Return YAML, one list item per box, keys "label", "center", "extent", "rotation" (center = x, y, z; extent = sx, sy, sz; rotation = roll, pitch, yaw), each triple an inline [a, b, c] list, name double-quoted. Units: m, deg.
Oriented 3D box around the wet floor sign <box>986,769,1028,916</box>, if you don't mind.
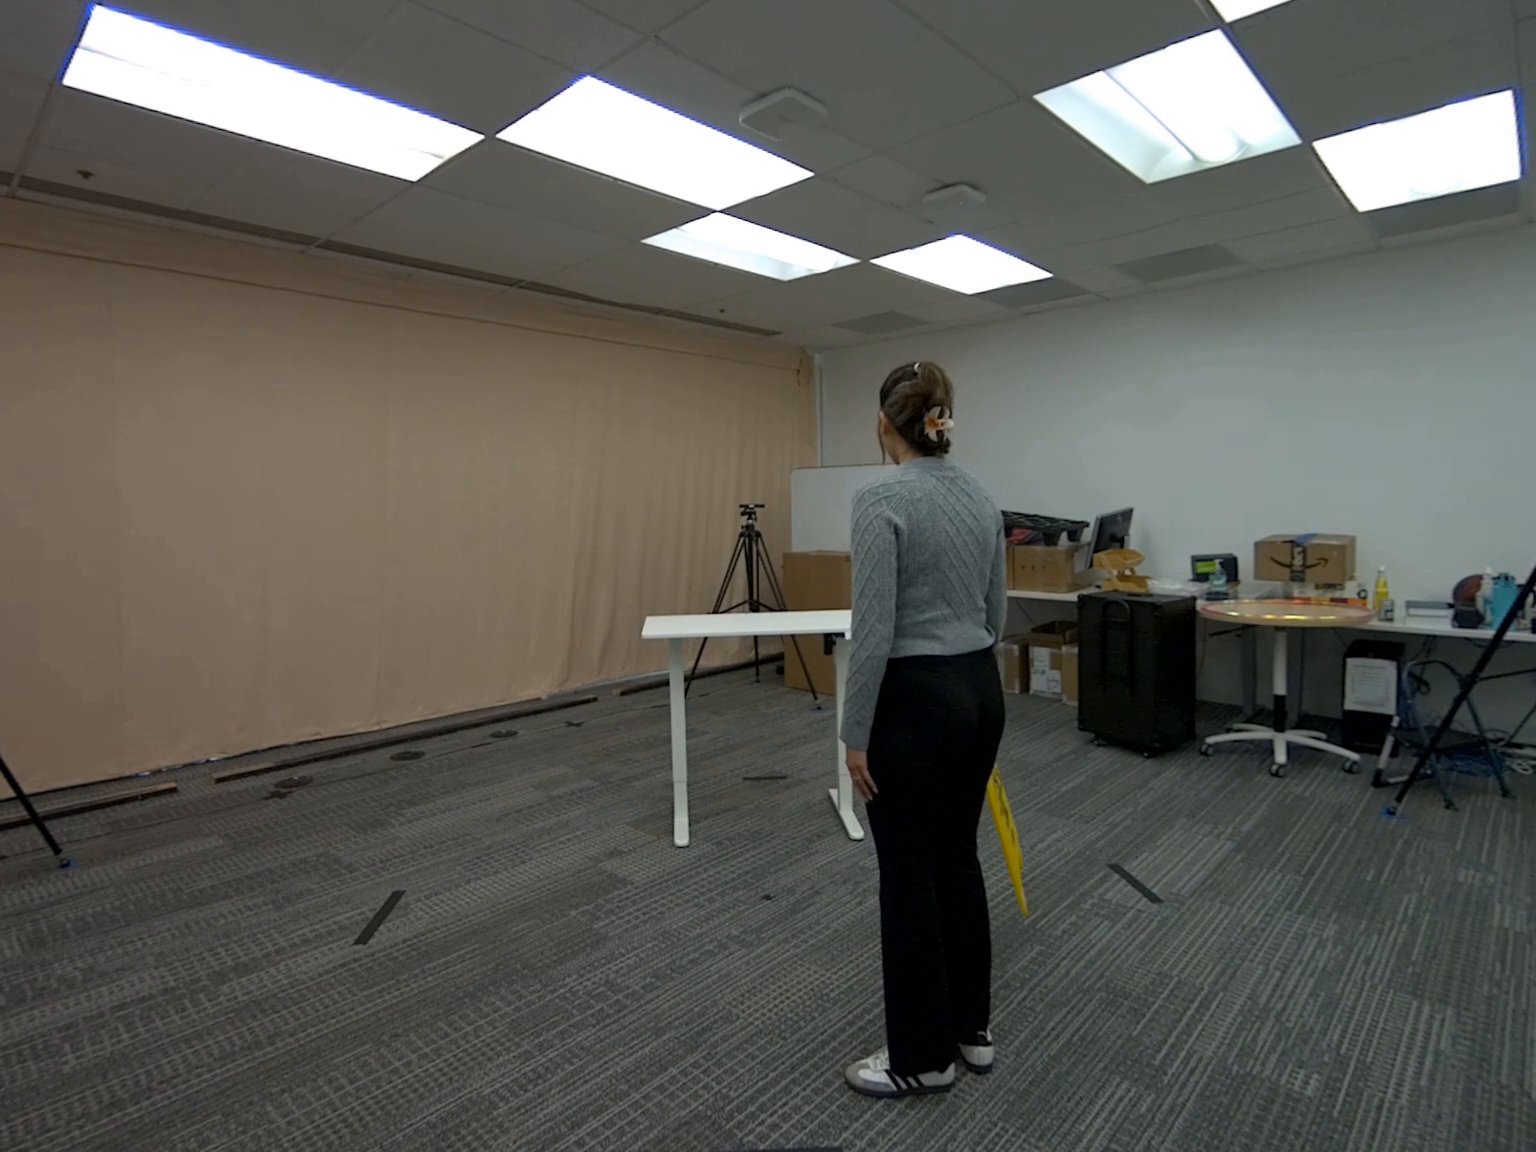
- label: "wet floor sign"
  center: [0.587, 0.618, 2.445]
  extent: [0.295, 0.639, 0.280]
  rotation: [-2, 15, 15]
